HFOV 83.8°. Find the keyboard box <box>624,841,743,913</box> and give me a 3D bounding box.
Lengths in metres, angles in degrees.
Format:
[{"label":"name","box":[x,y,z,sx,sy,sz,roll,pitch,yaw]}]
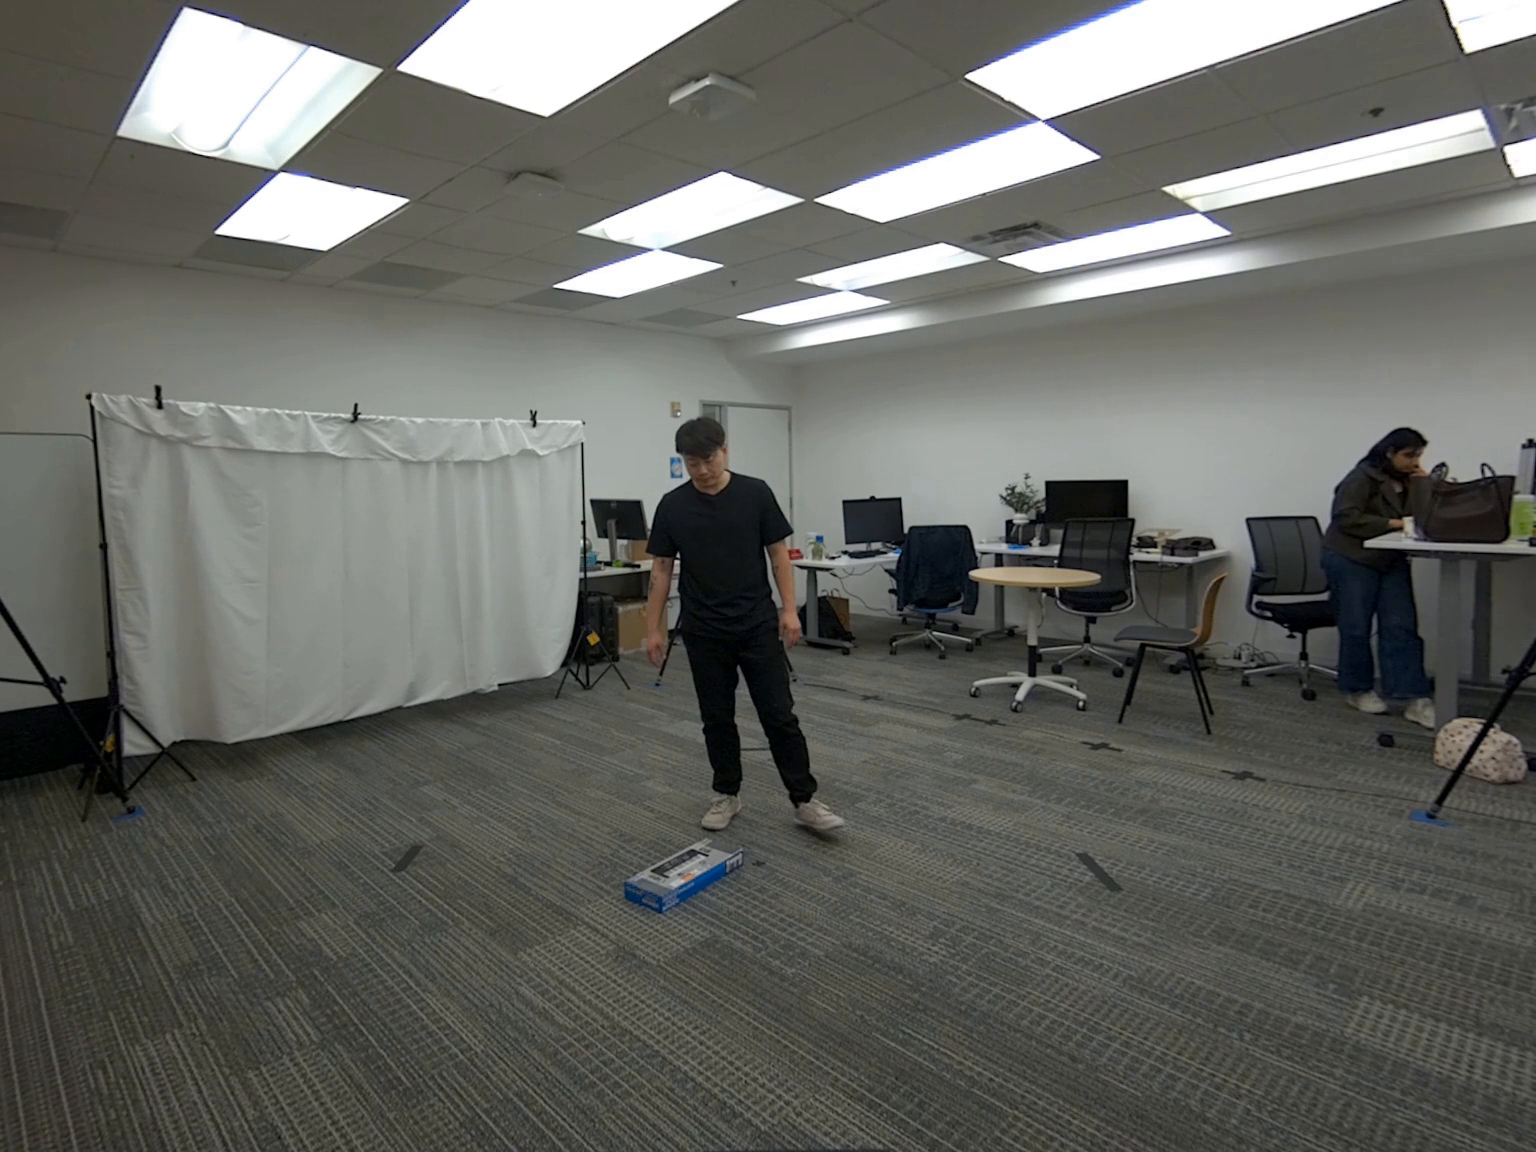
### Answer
[{"label":"keyboard box","box":[-0.282,1.036,2.979,0.181,0.059,0.426,5,9,37]}]
